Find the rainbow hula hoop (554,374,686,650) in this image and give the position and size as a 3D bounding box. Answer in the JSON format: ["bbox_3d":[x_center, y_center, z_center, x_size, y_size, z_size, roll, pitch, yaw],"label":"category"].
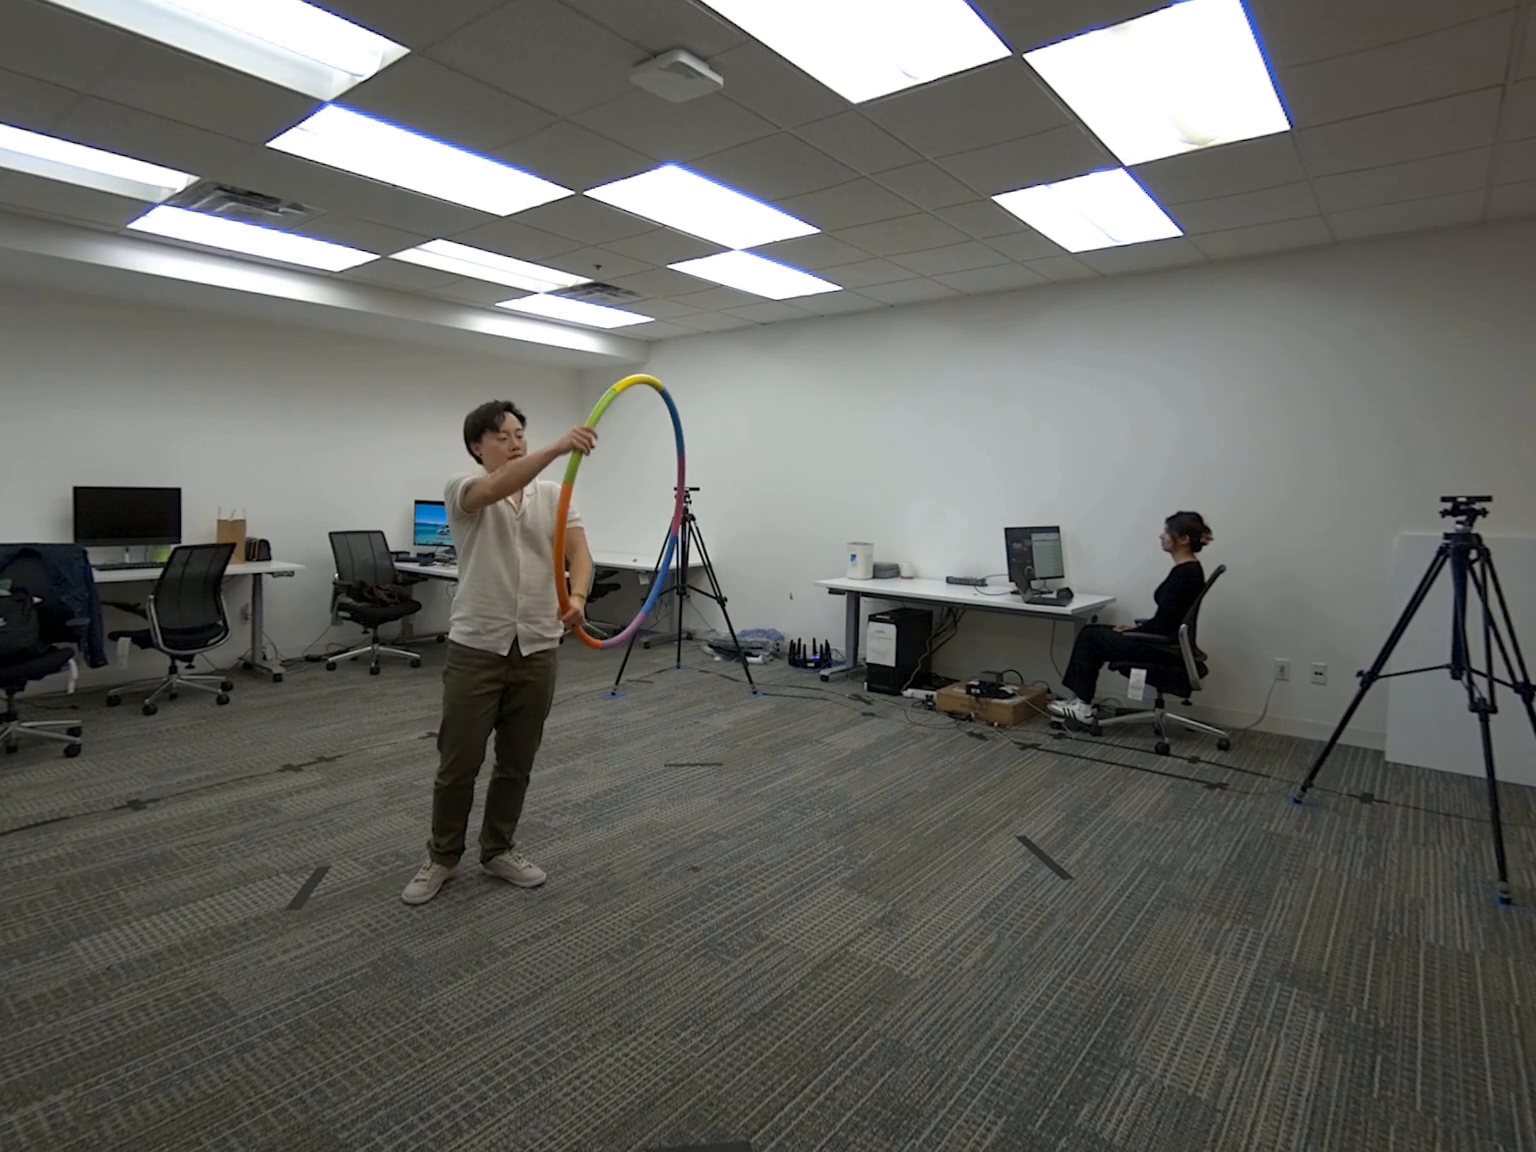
[{"bbox_3d":[-0.501,-0.216,3.013,0.036,0.974,0.964,10,7,14],"label":"rainbow hula hoop"}]
